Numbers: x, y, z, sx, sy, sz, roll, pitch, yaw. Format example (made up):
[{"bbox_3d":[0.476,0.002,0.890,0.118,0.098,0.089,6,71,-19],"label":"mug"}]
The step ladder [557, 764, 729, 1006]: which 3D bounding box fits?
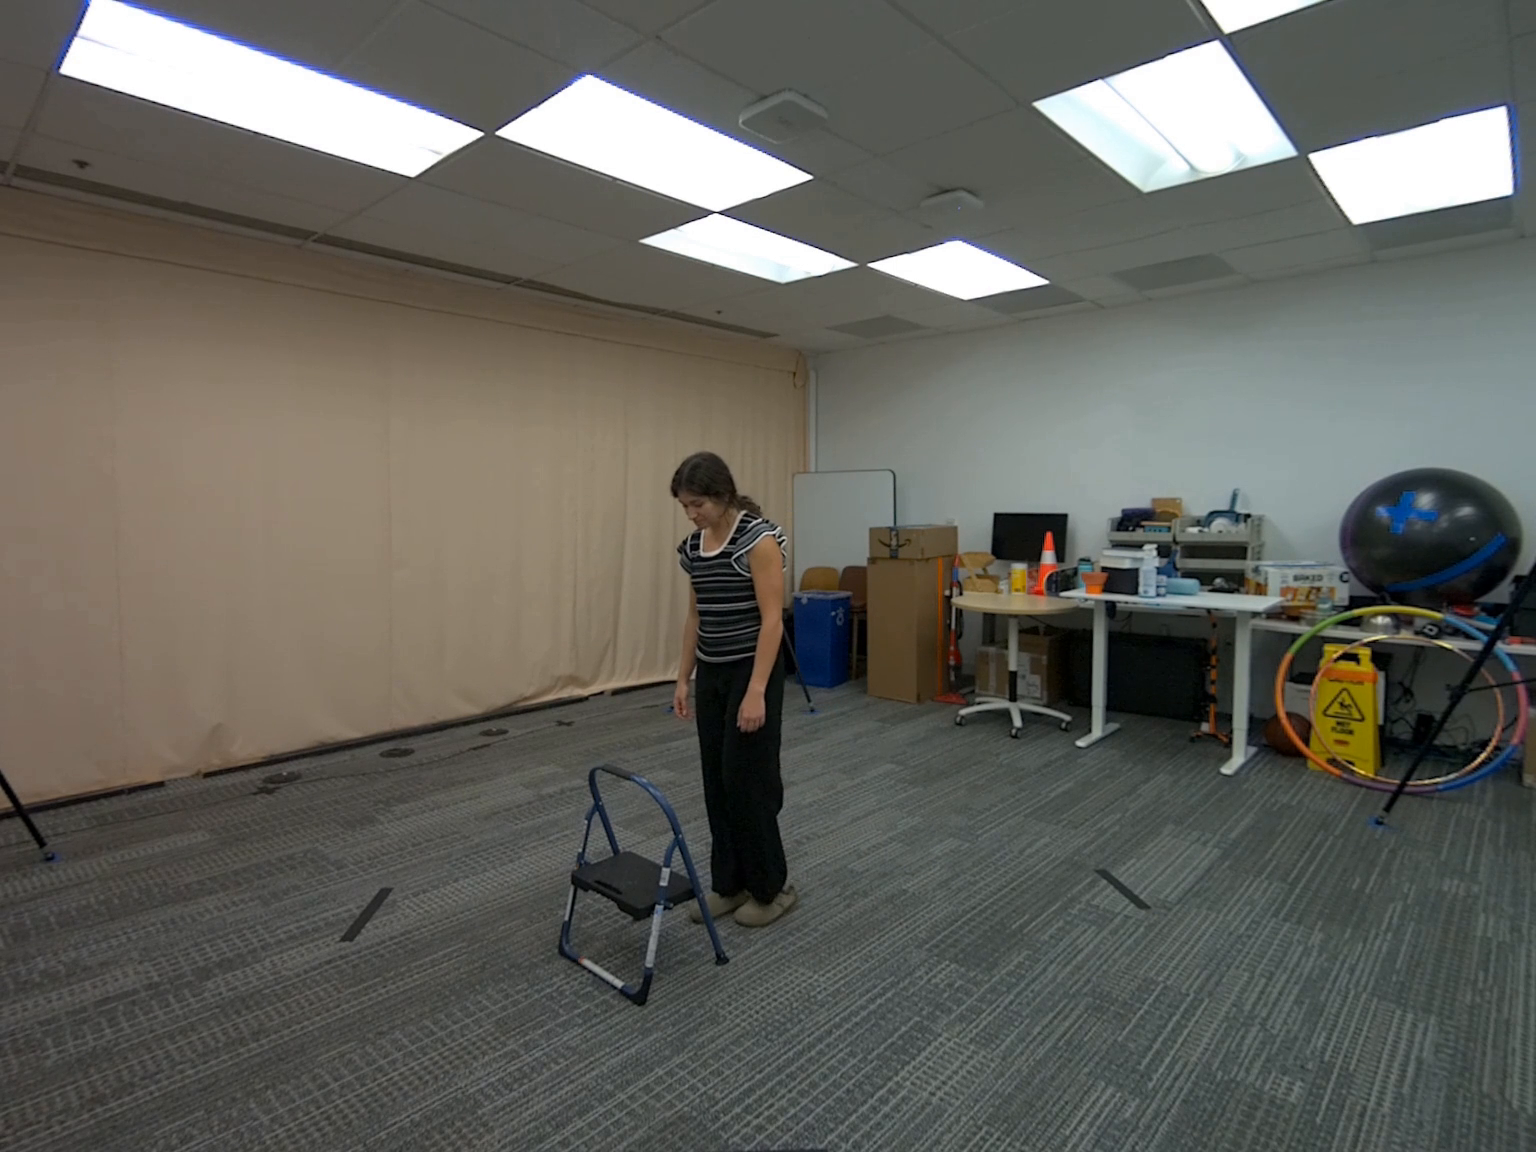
[{"bbox_3d":[-0.389,0.877,2.590,0.445,0.605,0.338,3,4,43],"label":"step ladder"}]
